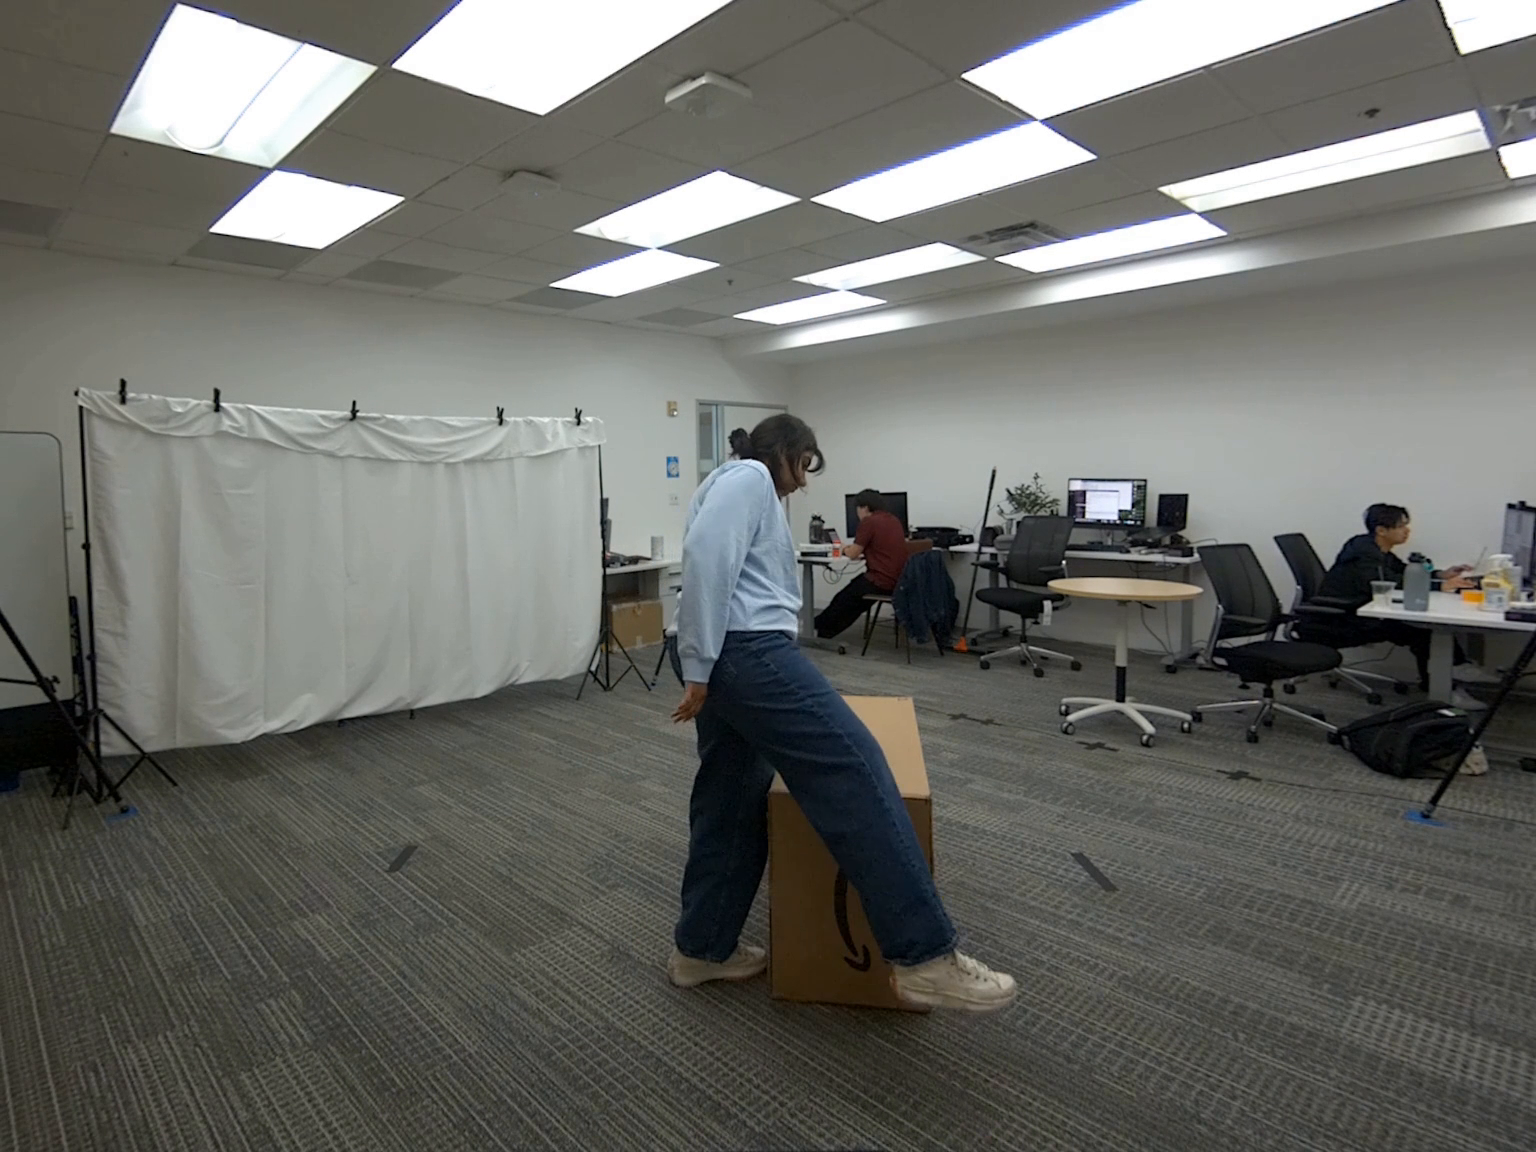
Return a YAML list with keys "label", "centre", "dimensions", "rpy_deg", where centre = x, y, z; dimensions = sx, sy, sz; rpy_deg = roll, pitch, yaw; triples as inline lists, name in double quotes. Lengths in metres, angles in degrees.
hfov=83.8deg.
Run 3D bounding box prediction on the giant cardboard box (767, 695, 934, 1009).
- label: "giant cardboard box"
  centre: [0.284, 0.793, 2.740]
  dimensions: [0.430, 0.575, 1.022]
  rpy_deg: [0, 6, 7]
